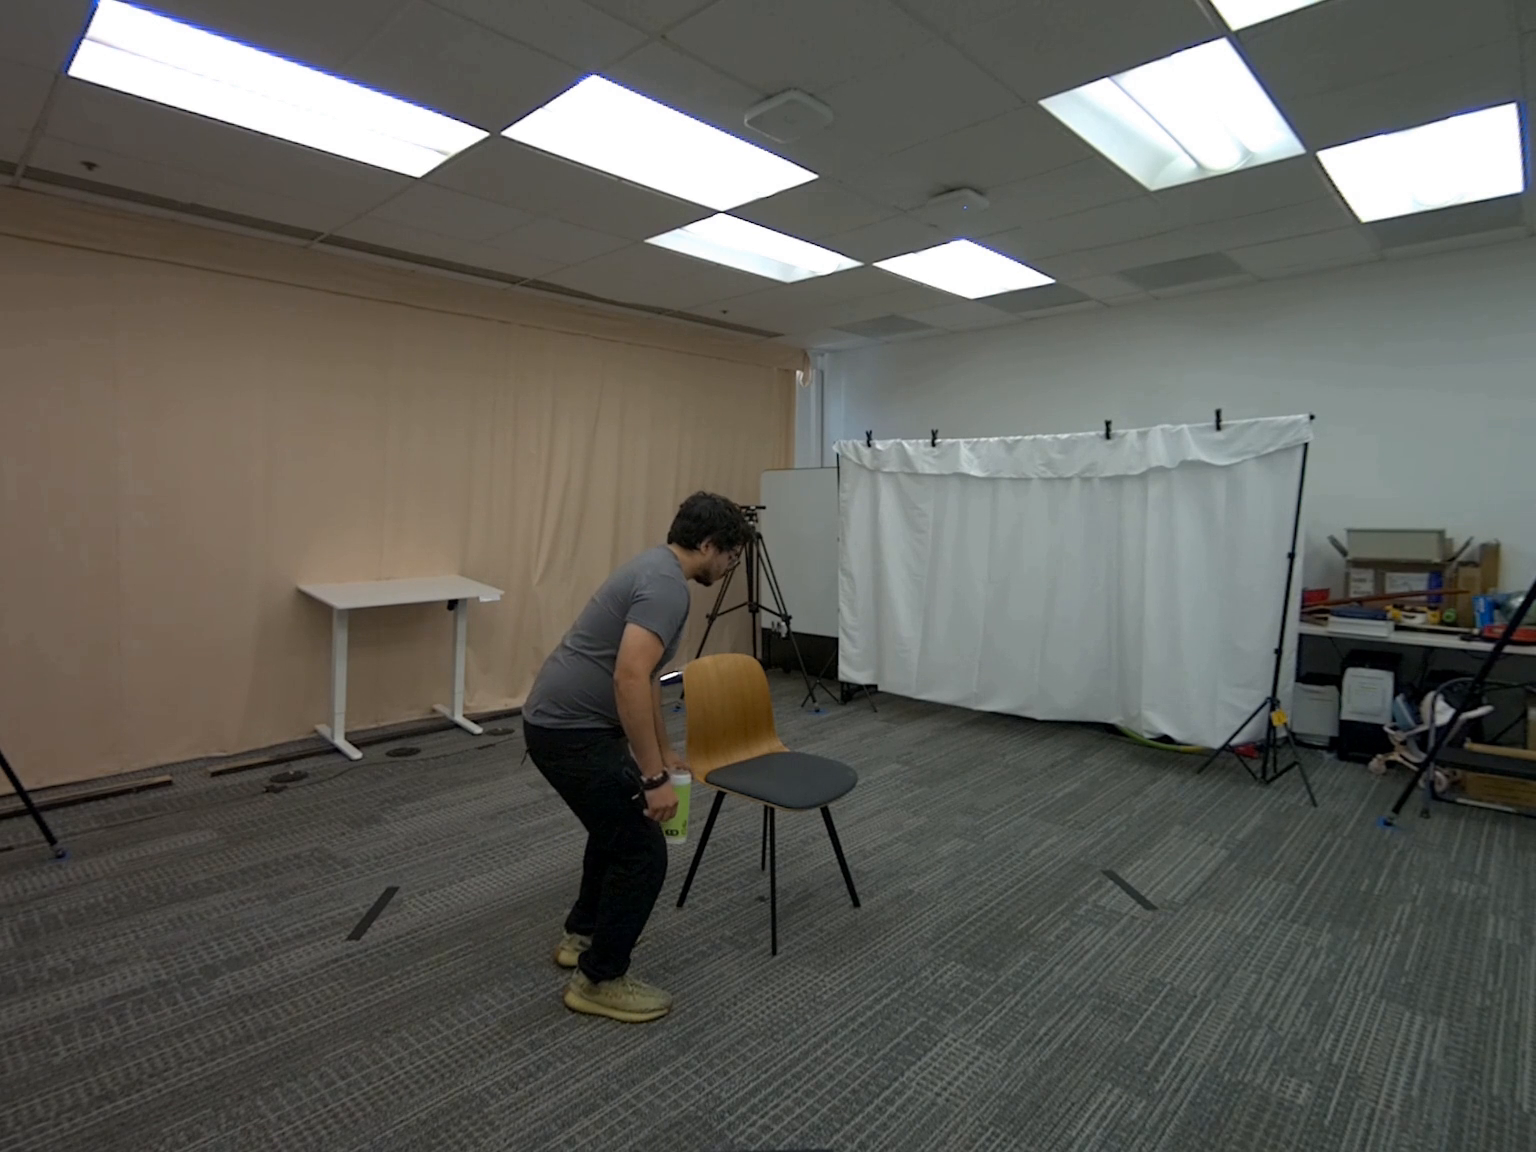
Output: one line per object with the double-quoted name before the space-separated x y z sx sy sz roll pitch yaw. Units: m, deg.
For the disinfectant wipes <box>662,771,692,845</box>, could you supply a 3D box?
"disinfectant wipes" -0.308 0.741 2.663 0.118 0.217 0.118 4 0 -2
